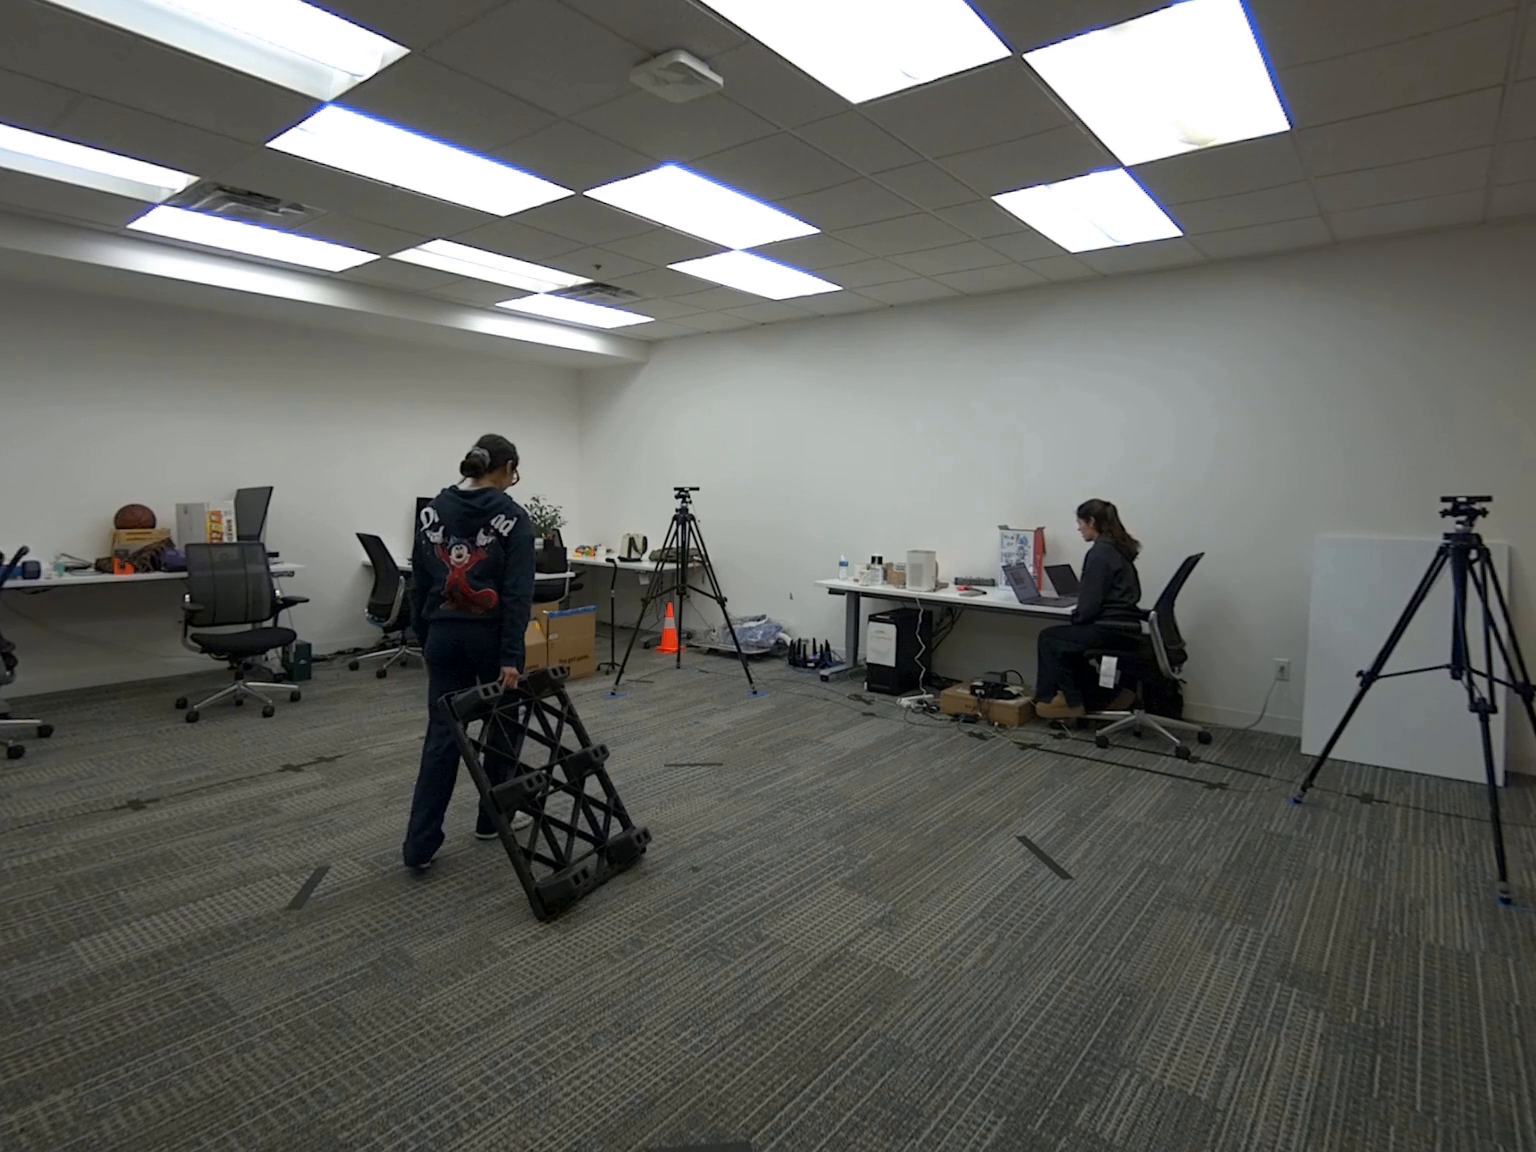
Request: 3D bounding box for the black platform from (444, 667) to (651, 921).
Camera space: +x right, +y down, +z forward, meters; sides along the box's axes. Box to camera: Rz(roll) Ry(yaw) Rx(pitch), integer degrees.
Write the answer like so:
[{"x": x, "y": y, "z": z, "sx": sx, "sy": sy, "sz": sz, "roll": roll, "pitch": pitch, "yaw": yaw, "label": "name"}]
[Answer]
[{"x": -0.763, "y": 0.705, "z": 3.022, "sx": 0.144, "sy": 0.819, "sz": 0.591, "roll": -36, "pitch": -12, "yaw": 24, "label": "black platform"}]
